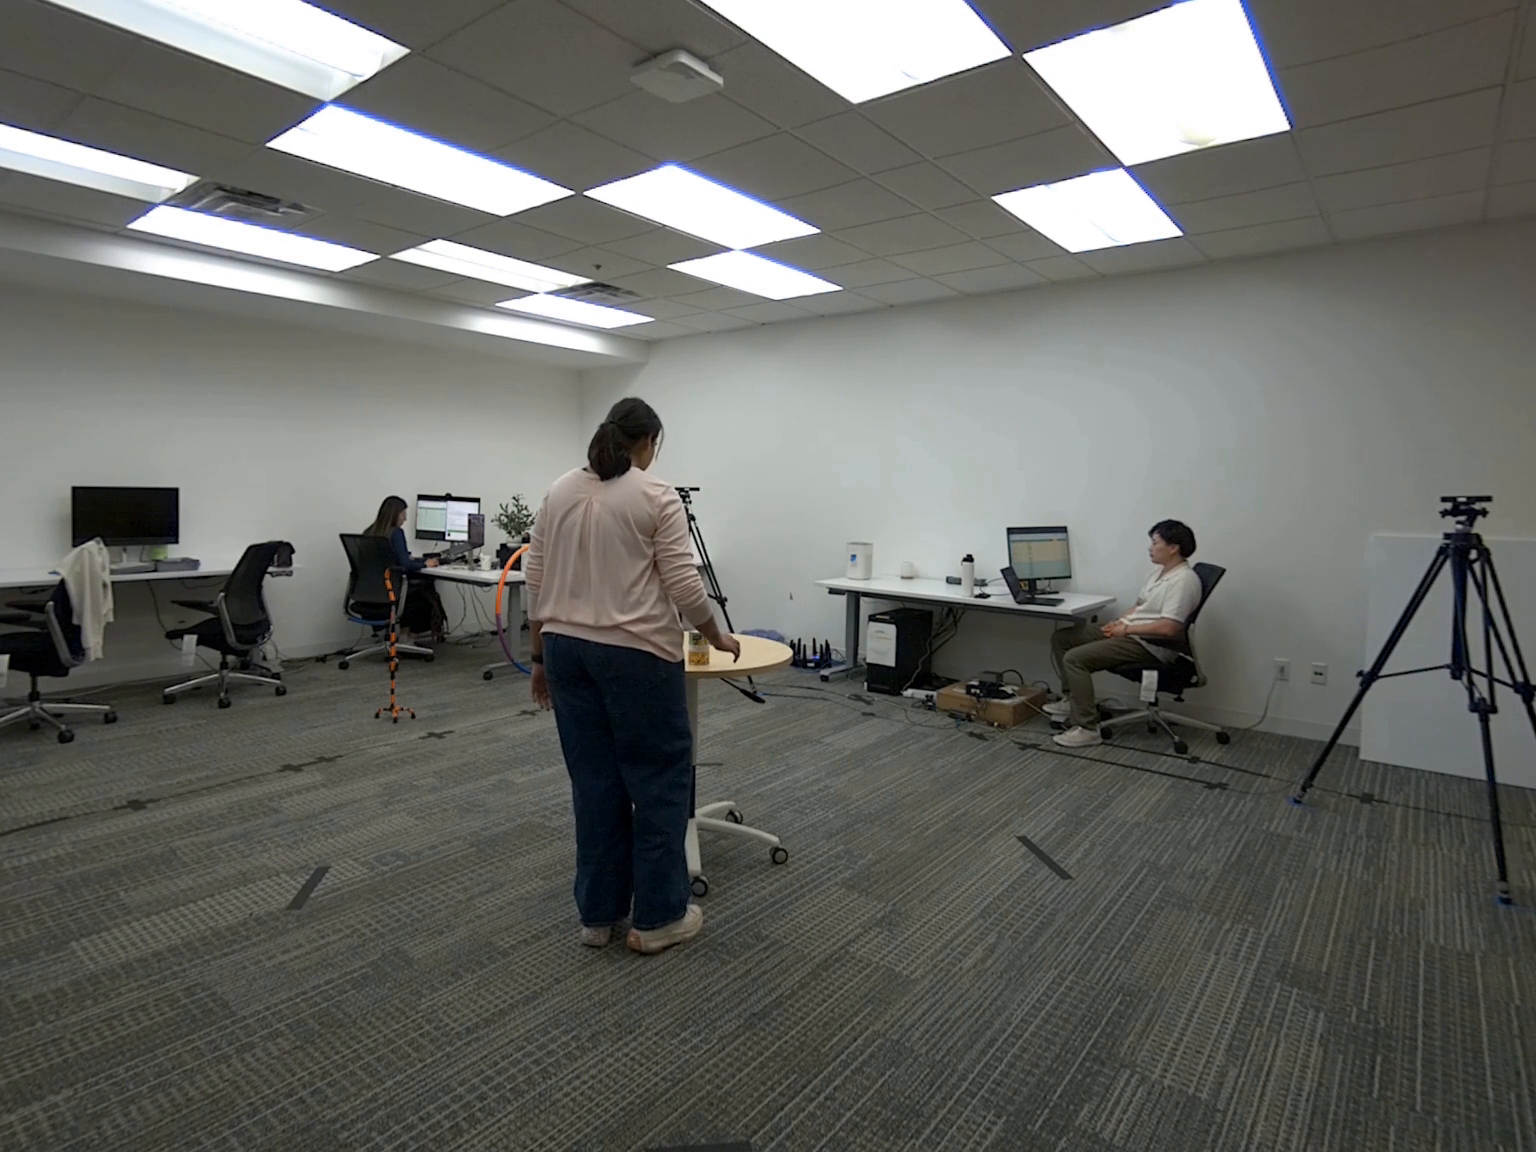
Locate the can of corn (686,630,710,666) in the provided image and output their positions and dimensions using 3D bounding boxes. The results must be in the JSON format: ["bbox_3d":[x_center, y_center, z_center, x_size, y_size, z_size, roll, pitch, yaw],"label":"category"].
[{"bbox_3d":[-0.250,0.250,2.945,0.074,0.110,0.075,3,6,-2],"label":"can of corn"}]
